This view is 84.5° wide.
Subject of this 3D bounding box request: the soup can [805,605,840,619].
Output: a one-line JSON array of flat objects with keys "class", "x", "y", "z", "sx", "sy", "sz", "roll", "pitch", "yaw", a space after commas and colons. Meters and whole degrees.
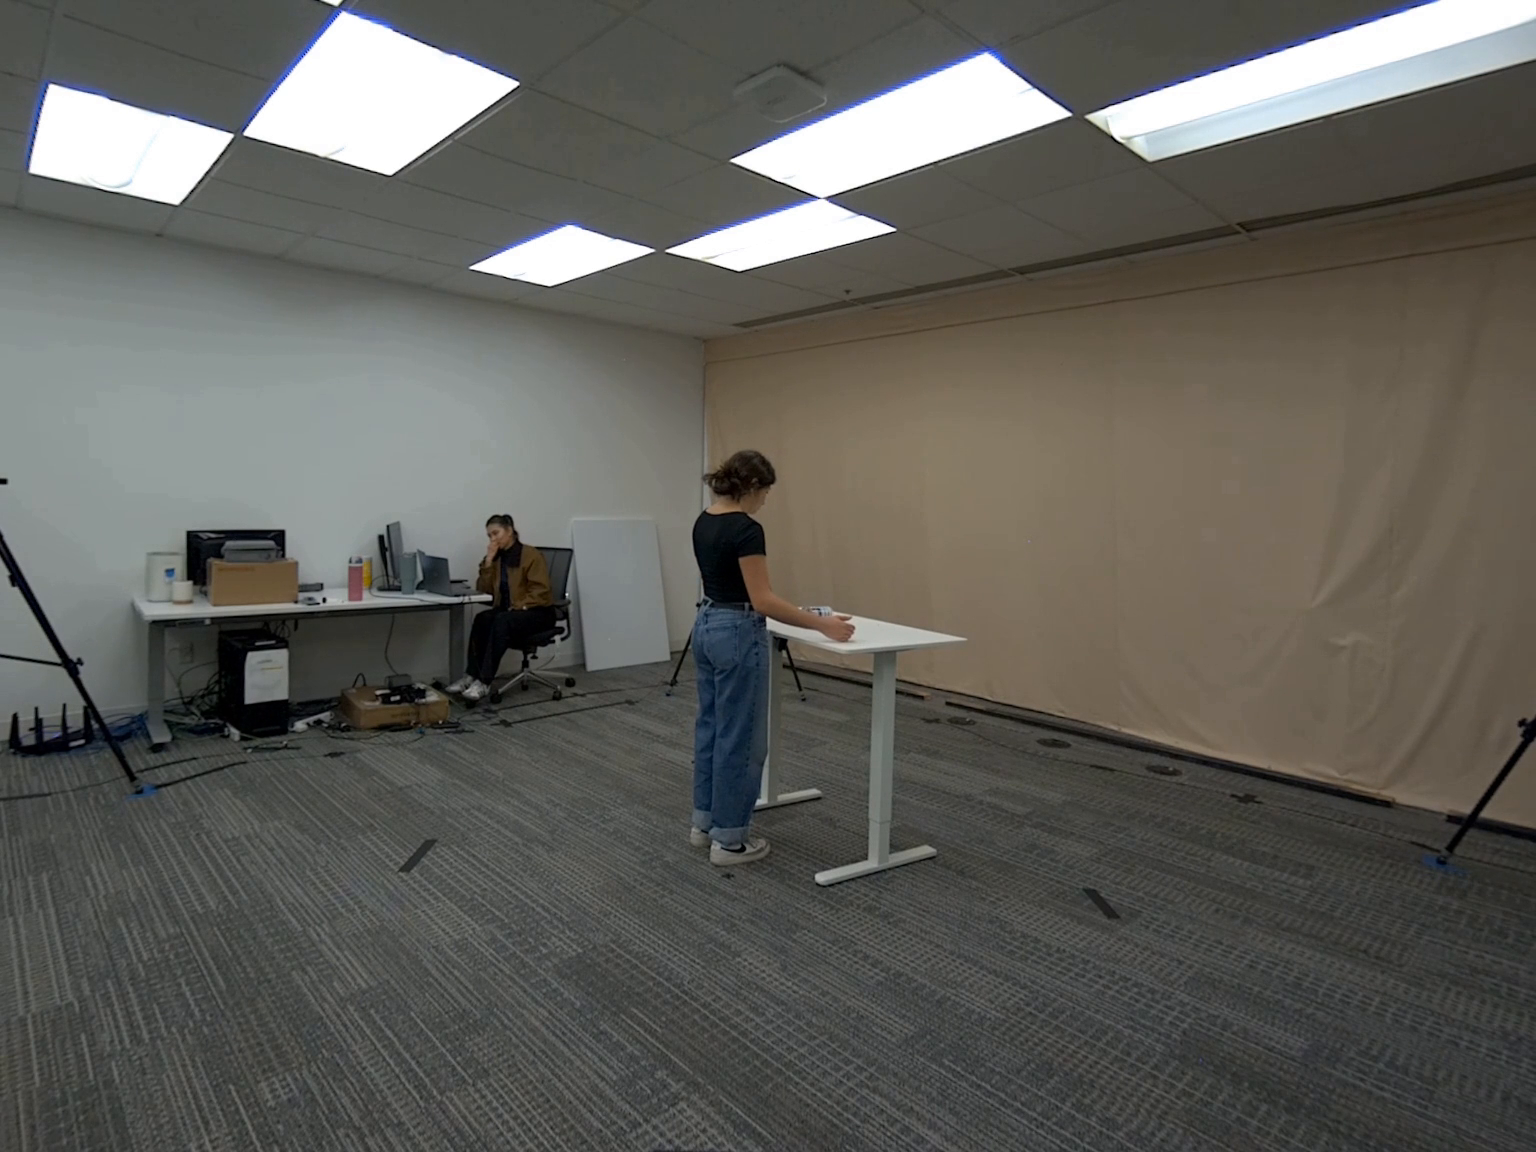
[{"class": "soup can", "x": 0.197, "y": 0.163, "z": 3.535, "sx": 0.120, "sy": 0.067, "sz": 0.068, "roll": -1, "pitch": 5, "yaw": -18}]
